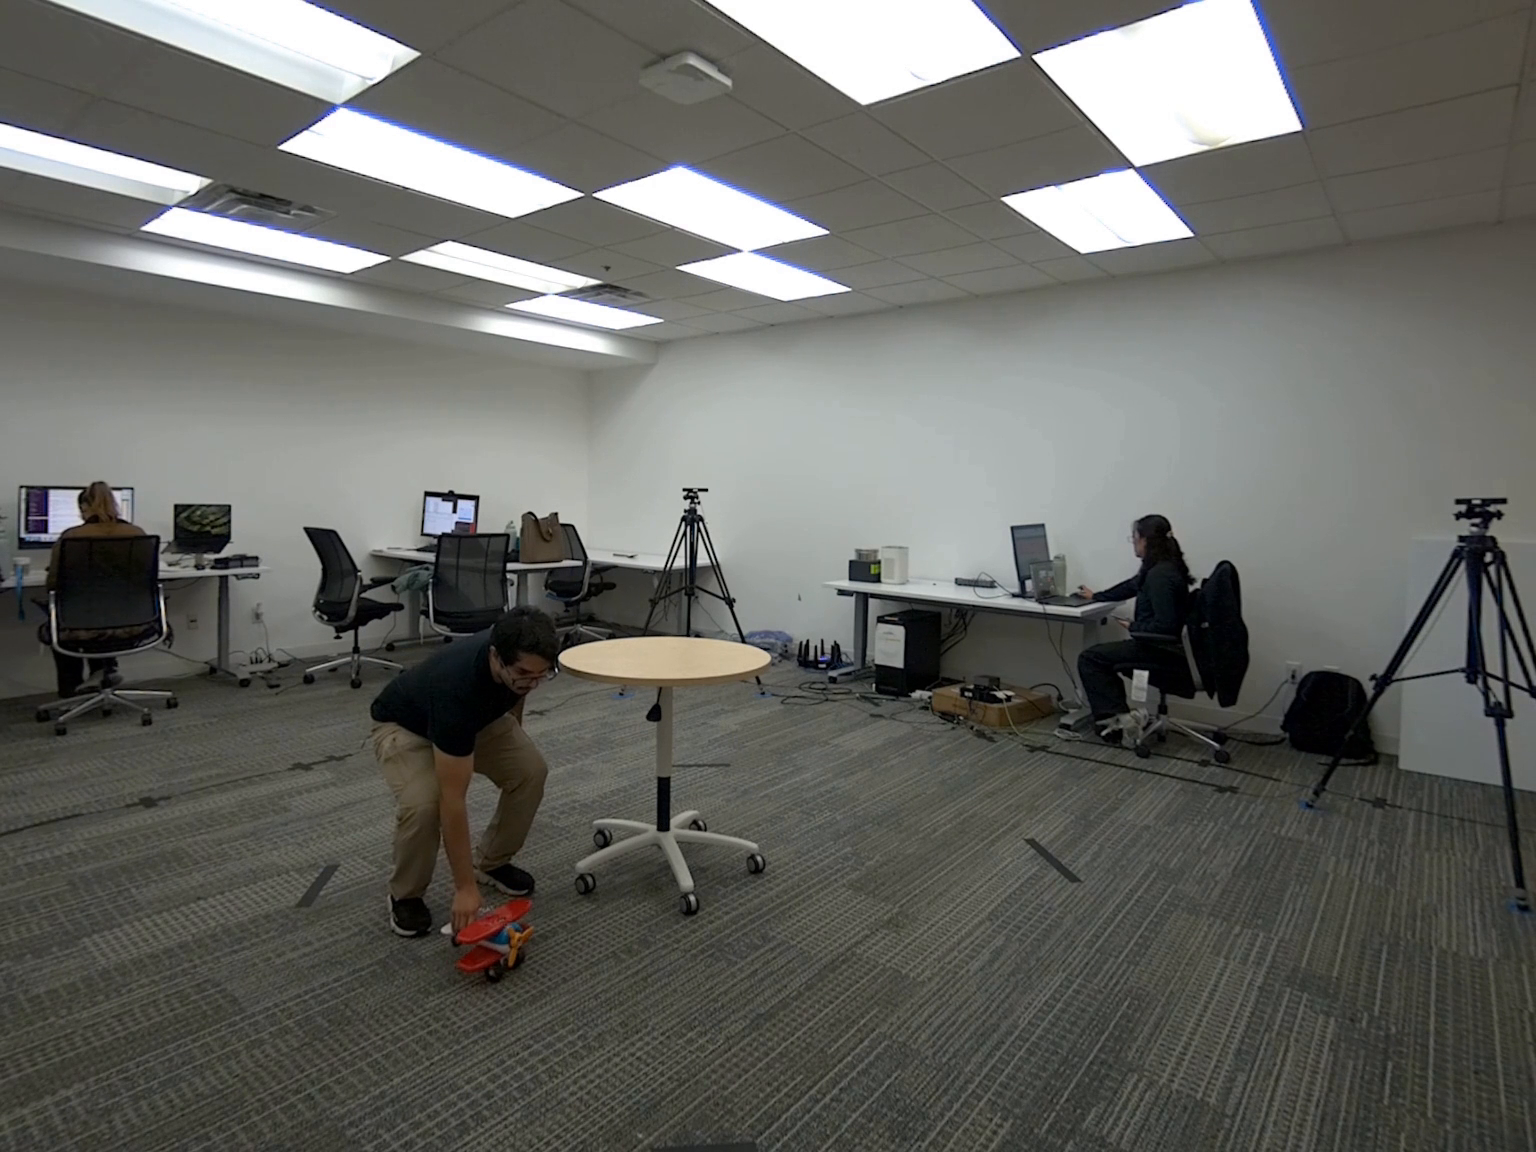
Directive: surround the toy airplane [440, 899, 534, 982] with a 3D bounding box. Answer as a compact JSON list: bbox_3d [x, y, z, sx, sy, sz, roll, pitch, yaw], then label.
[{"bbox_3d":[-0.829,1.039,2.440,0.259,0.155,0.254,11,11,-3],"label":"toy airplane"}]
